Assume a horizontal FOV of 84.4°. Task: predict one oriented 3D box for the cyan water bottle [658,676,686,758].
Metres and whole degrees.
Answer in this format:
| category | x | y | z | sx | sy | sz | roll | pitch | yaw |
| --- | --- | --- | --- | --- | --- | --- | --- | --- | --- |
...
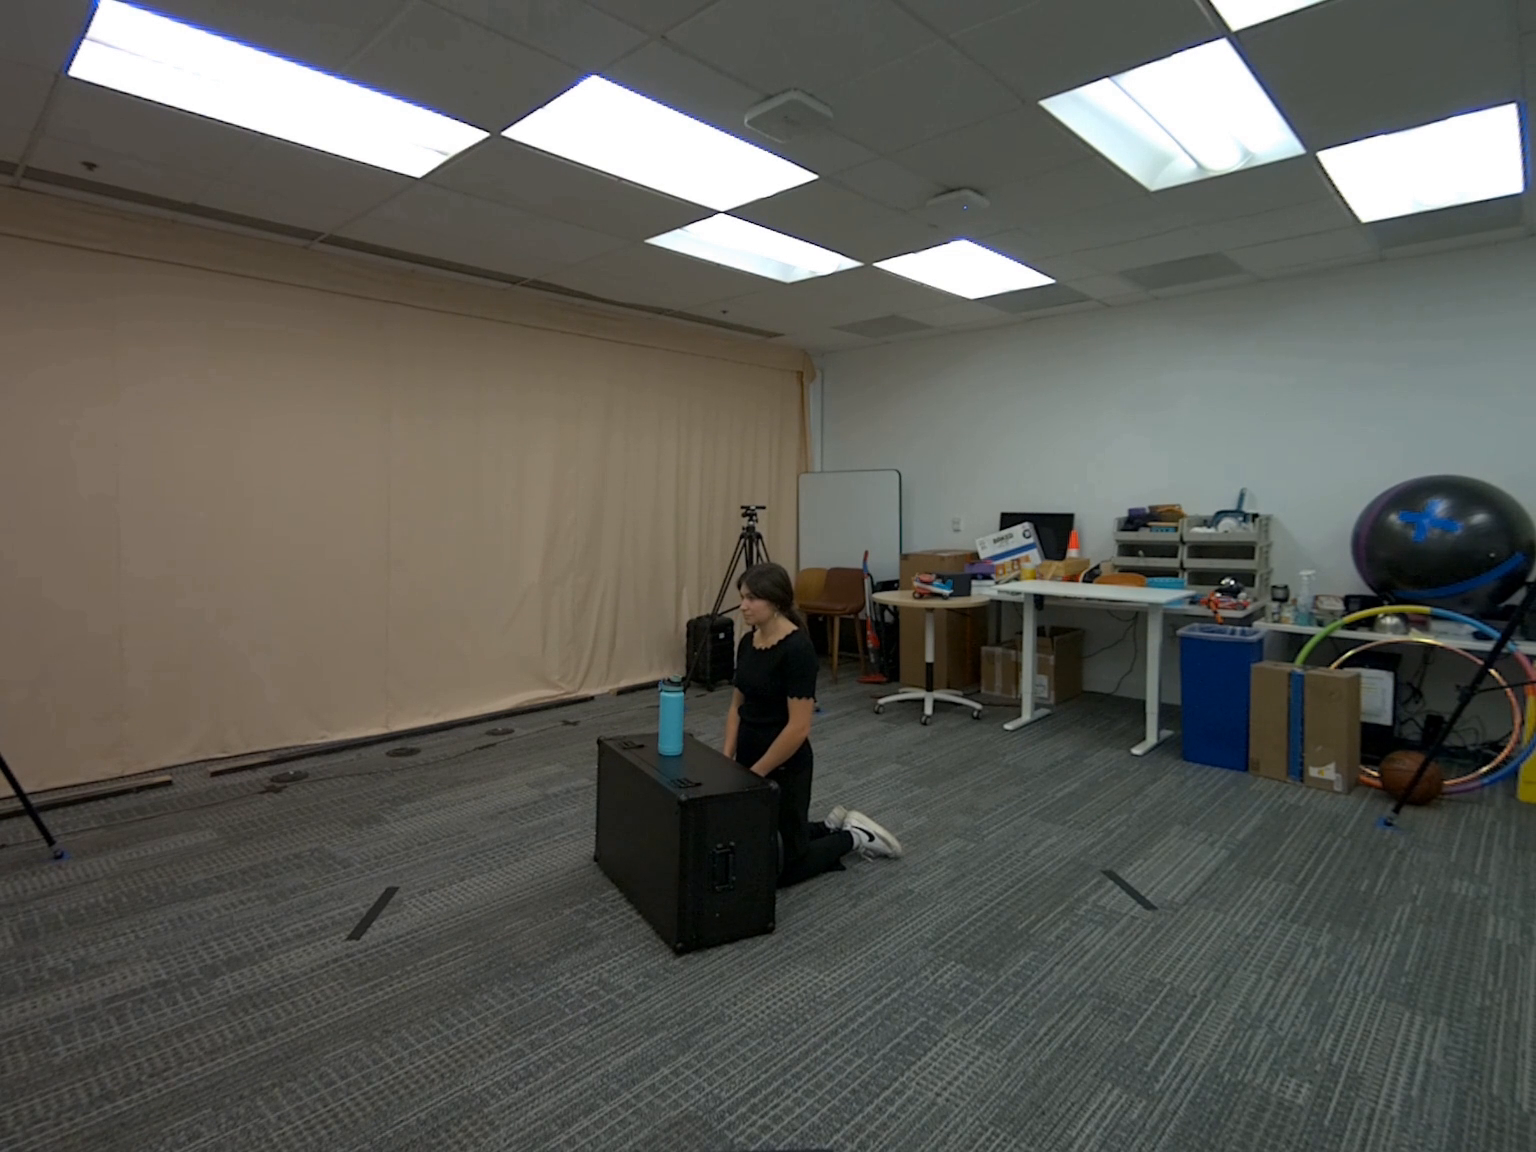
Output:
| category | x | y | z | sx | sy | sz | roll | pitch | yaw |
| --- | --- | --- | --- | --- | --- | --- | --- | --- | --- |
| cyan water bottle | -0.353 | 0.512 | 3.098 | 0.092 | 0.283 | 0.092 | 0 | 3 | -2 |
